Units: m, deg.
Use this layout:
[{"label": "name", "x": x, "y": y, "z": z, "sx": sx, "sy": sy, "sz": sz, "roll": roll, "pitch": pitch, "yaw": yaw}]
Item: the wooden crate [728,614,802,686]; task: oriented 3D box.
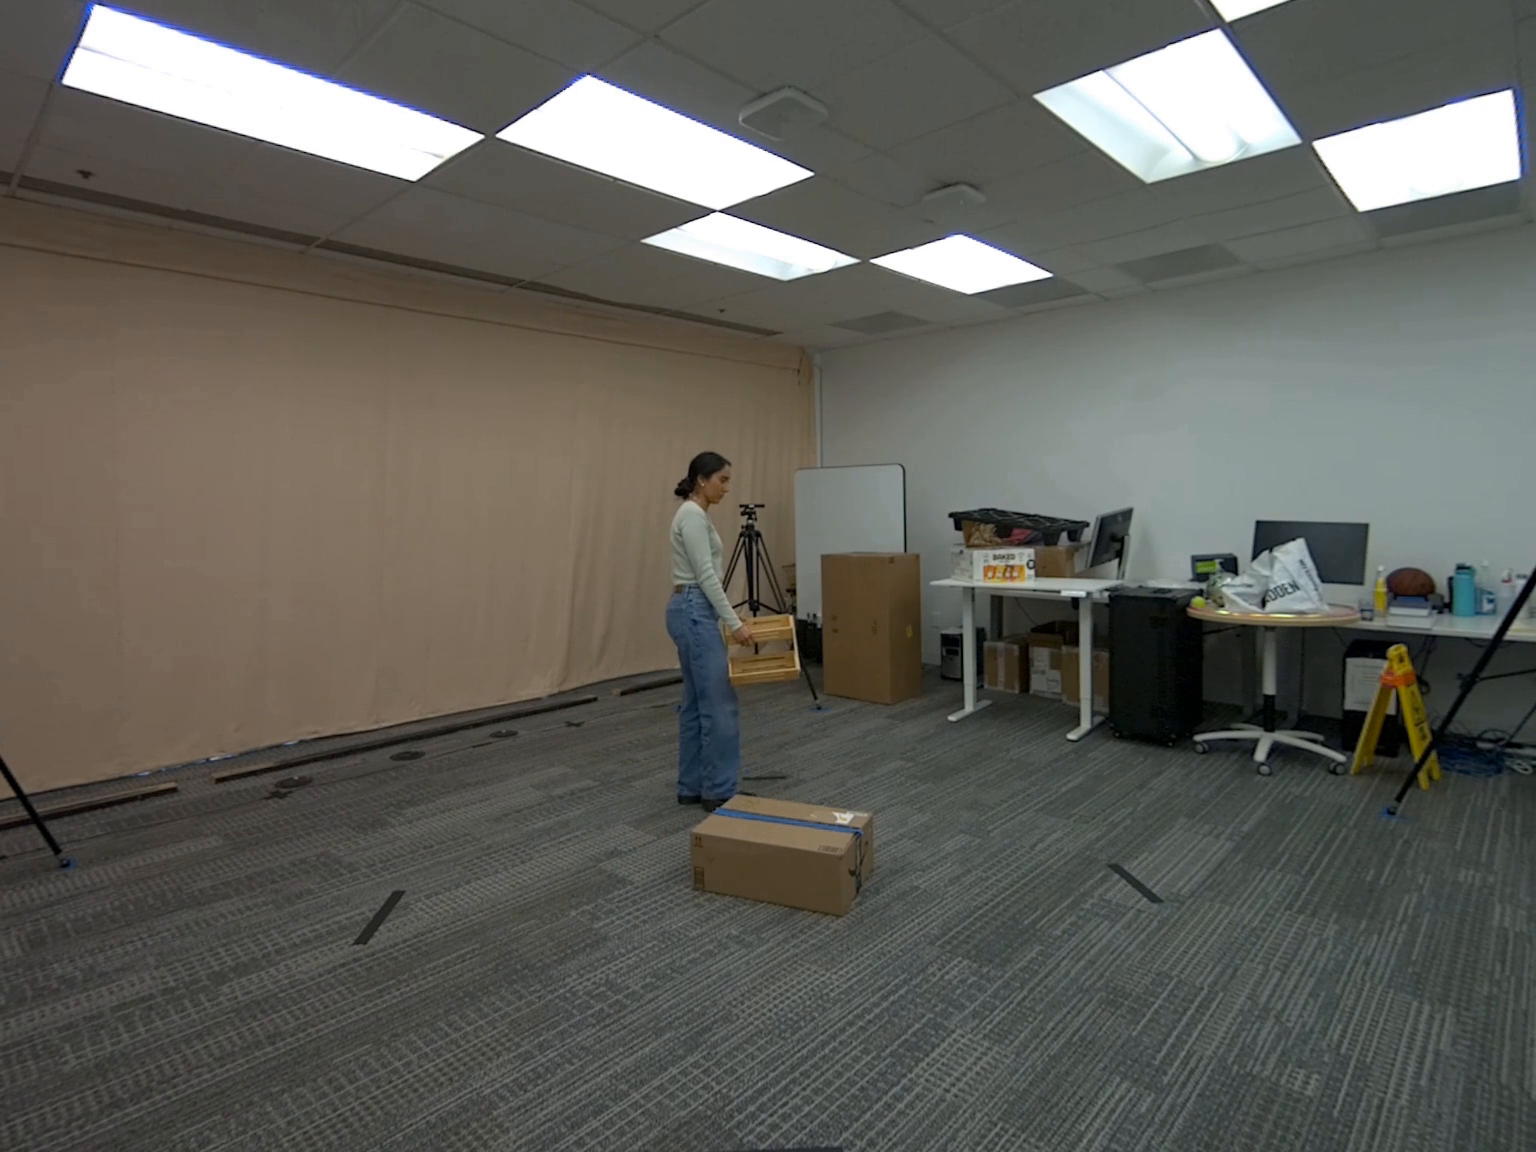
[{"label": "wooden crate", "x": -0.027, "y": 0.326, "z": 3.803, "sx": 0.325, "sy": 0.273, "sz": 0.302, "roll": -6, "pitch": 3, "yaw": 1}]
